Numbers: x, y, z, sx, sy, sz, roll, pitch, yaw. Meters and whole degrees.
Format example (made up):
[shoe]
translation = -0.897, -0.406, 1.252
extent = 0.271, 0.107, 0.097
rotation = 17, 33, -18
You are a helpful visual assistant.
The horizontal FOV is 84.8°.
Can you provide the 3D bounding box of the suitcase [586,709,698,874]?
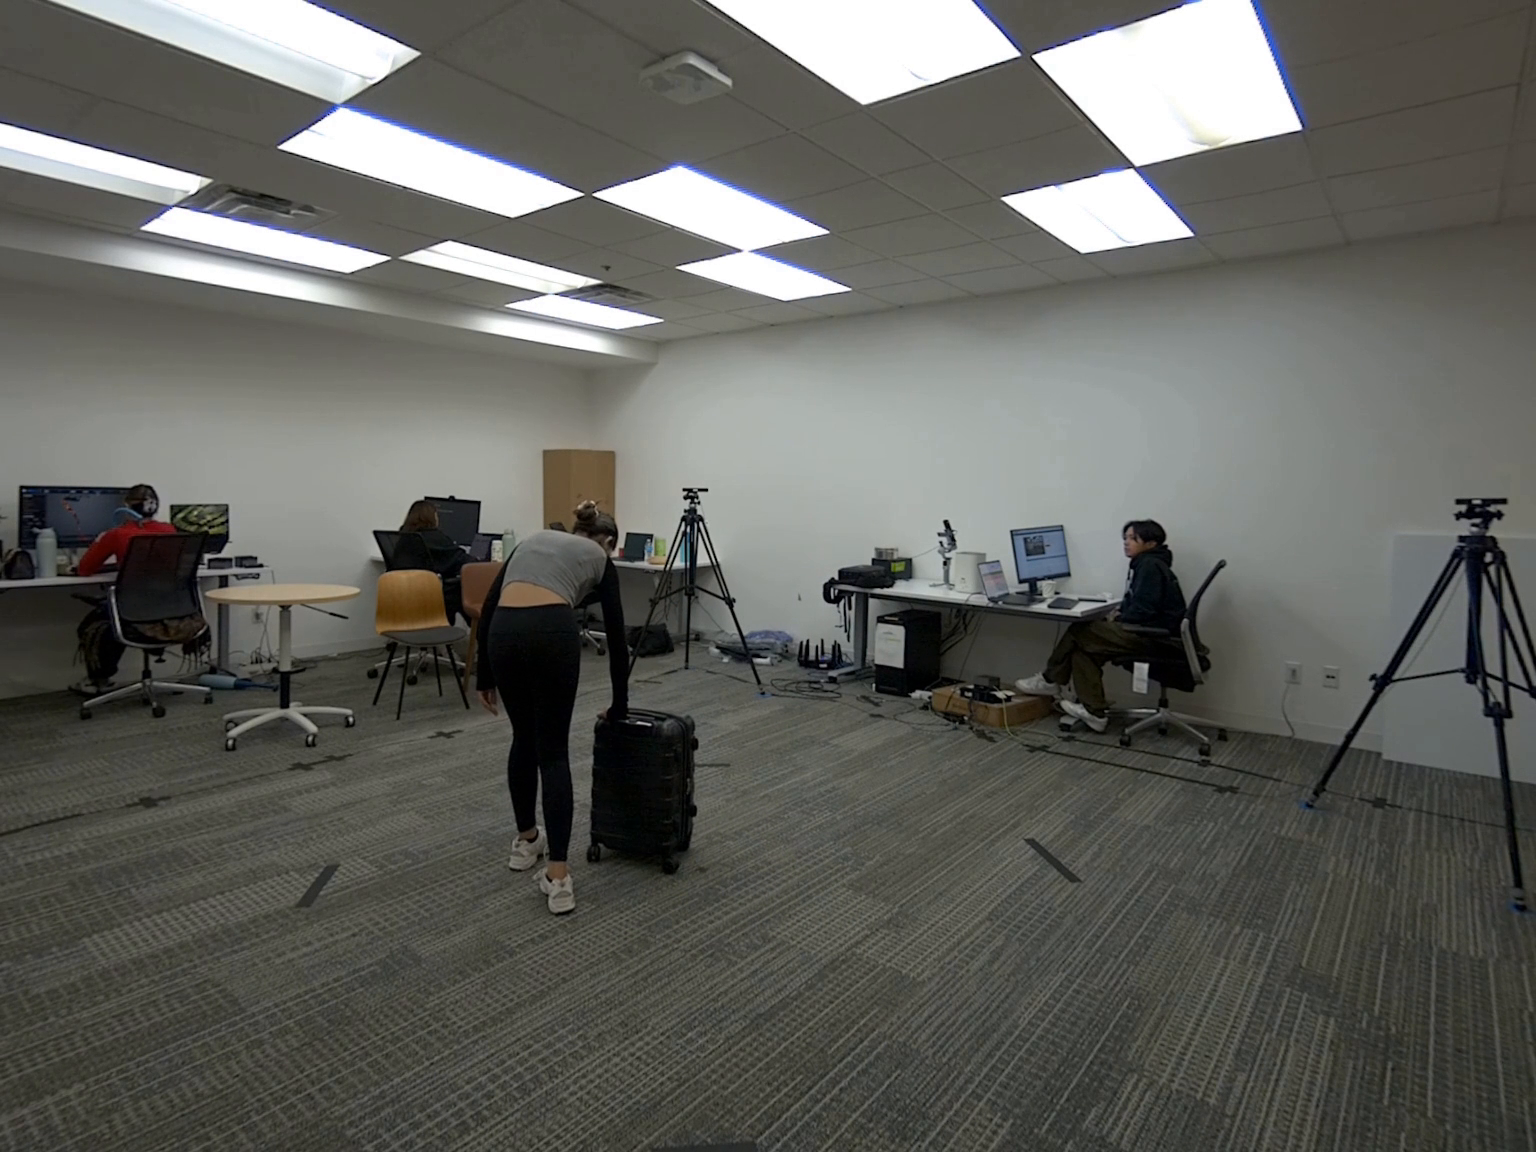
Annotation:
[suitcase]
translation = -0.484, 0.778, 3.234
extent = 0.383, 0.549, 0.243
rotation = 1, 1, 20
